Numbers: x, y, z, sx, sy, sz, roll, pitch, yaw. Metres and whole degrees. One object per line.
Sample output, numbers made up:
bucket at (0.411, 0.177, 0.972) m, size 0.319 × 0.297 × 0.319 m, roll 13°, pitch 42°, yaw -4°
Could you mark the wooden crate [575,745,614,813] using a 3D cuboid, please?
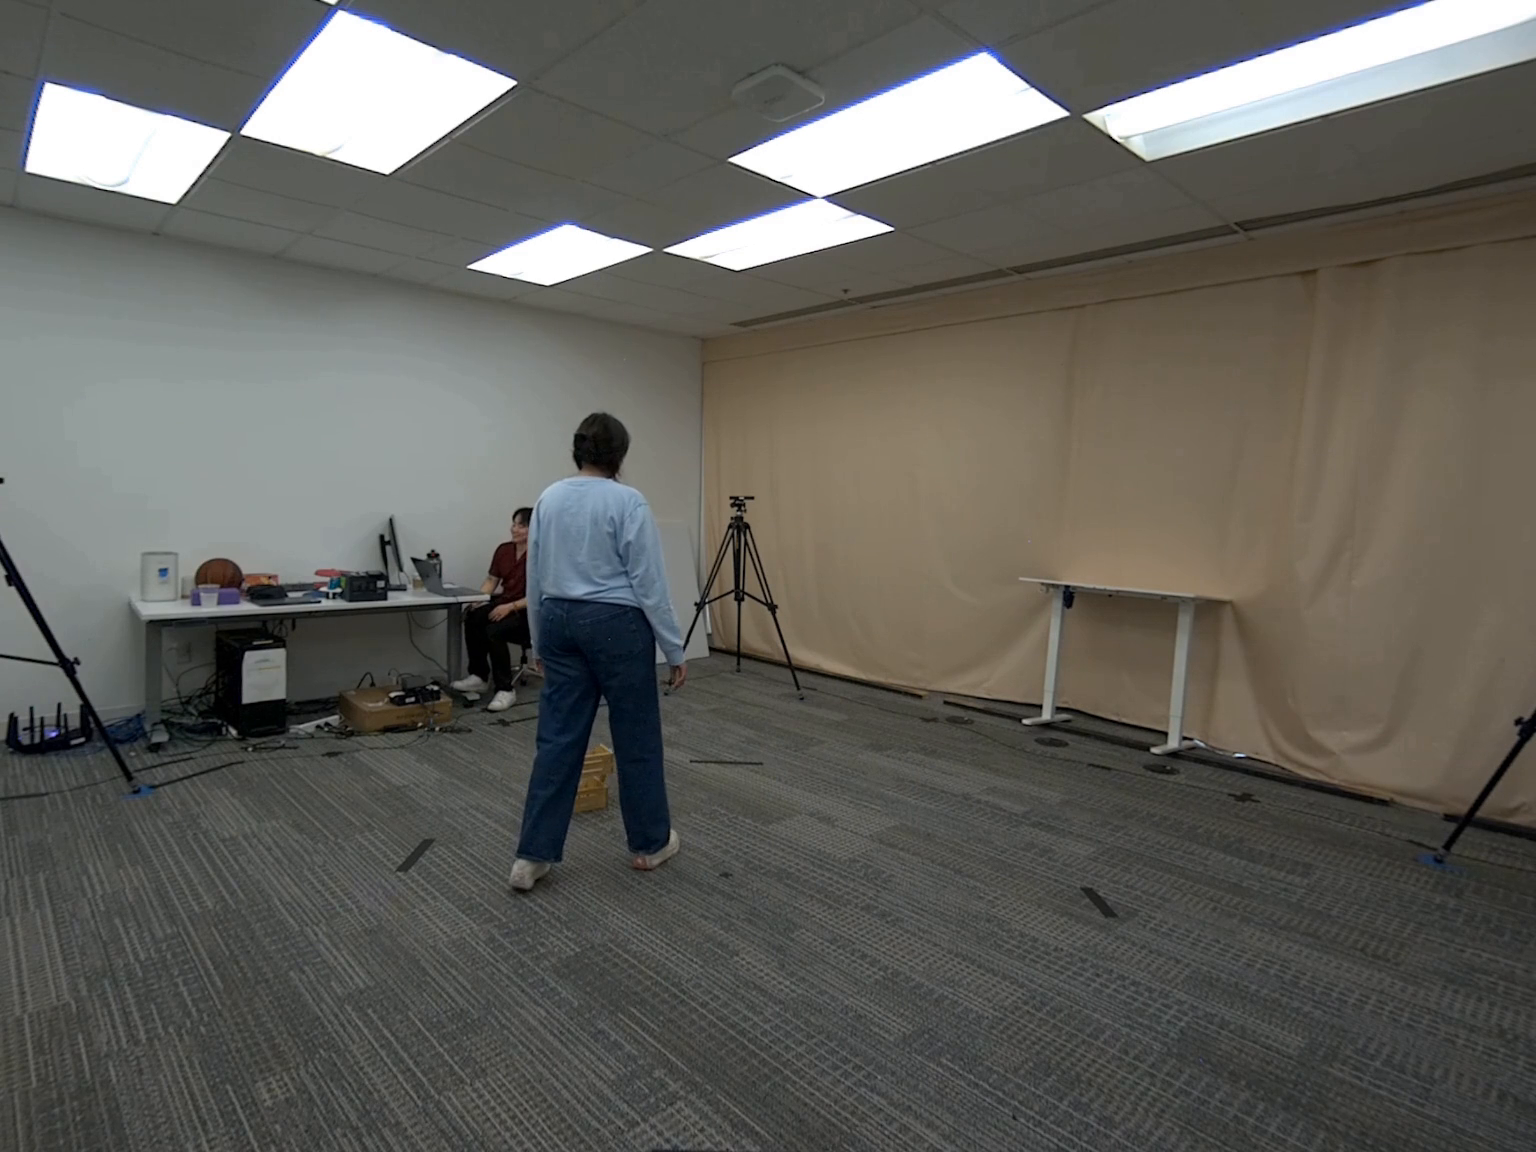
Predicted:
wooden crate at (-0.904, 0.901, 3.770) m, size 0.318 × 0.272 × 0.309 m, roll -1°, pitch 6°, yaw -32°
